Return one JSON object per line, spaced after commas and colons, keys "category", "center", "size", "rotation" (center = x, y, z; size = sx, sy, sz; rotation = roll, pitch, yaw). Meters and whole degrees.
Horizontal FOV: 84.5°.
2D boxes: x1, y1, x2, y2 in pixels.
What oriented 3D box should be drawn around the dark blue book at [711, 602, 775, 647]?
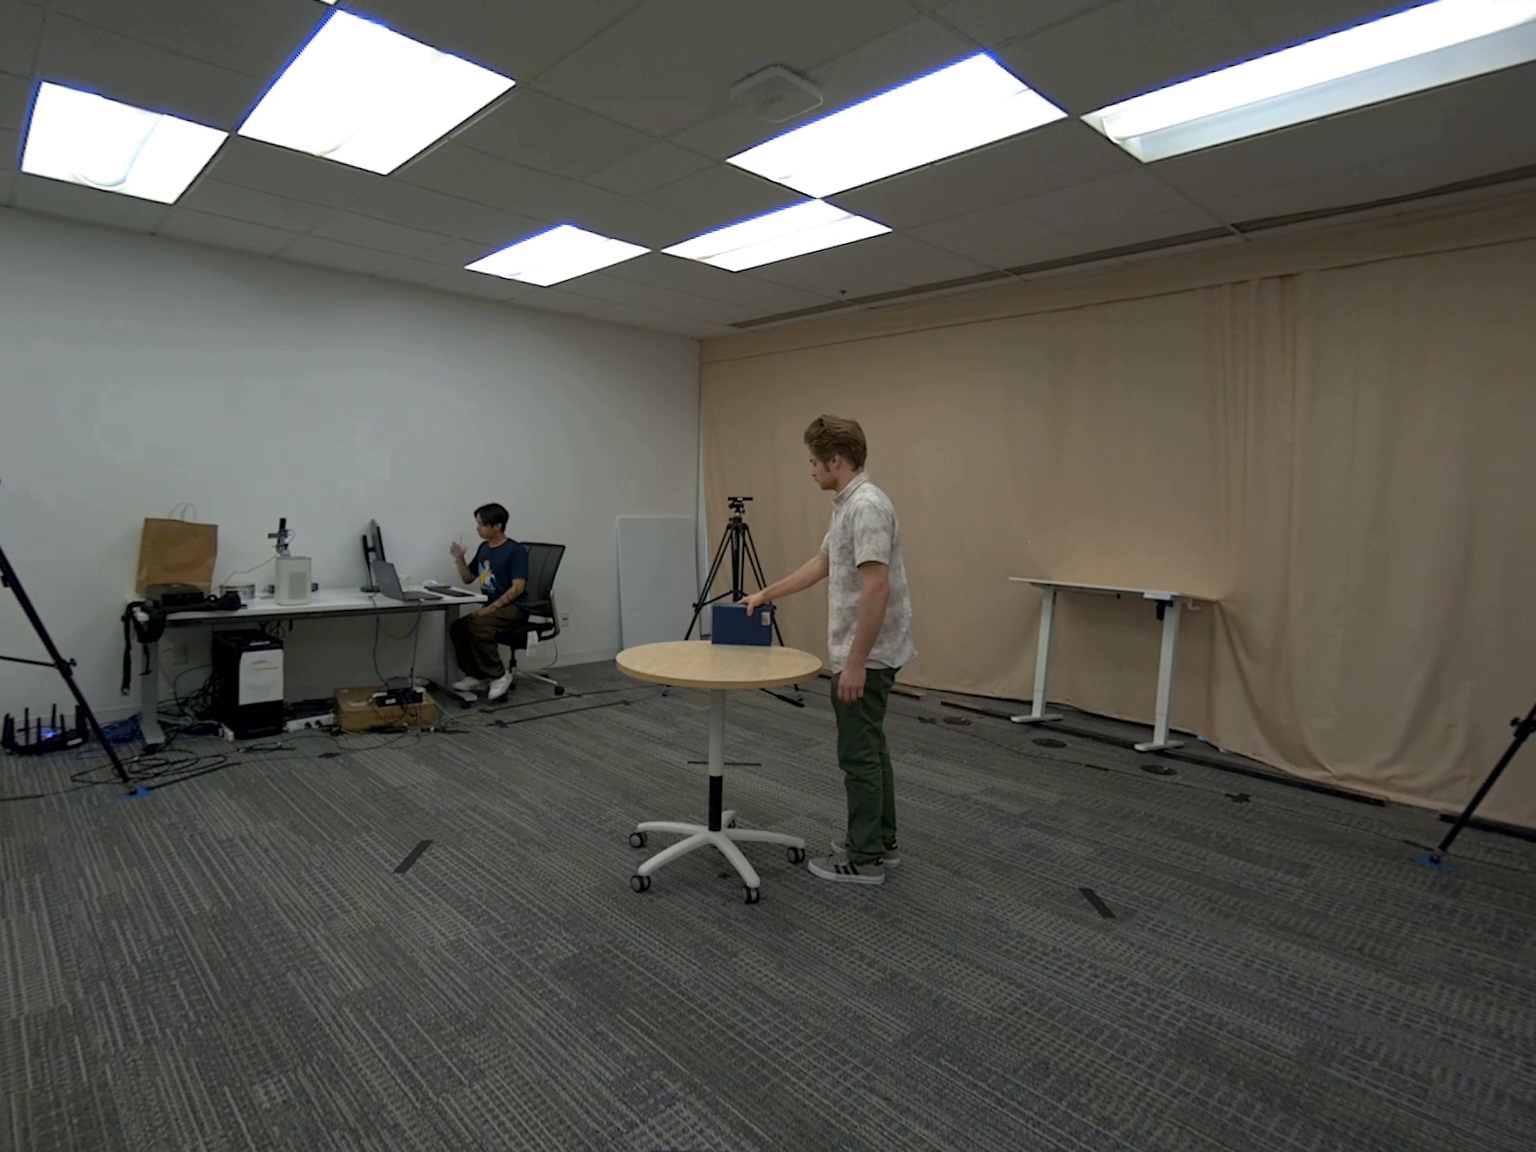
{"category": "dark blue book", "center": [-0.102, 0.195, 3.436], "size": [0.245, 0.163, 0.045], "rotation": [0, 4, -1]}
